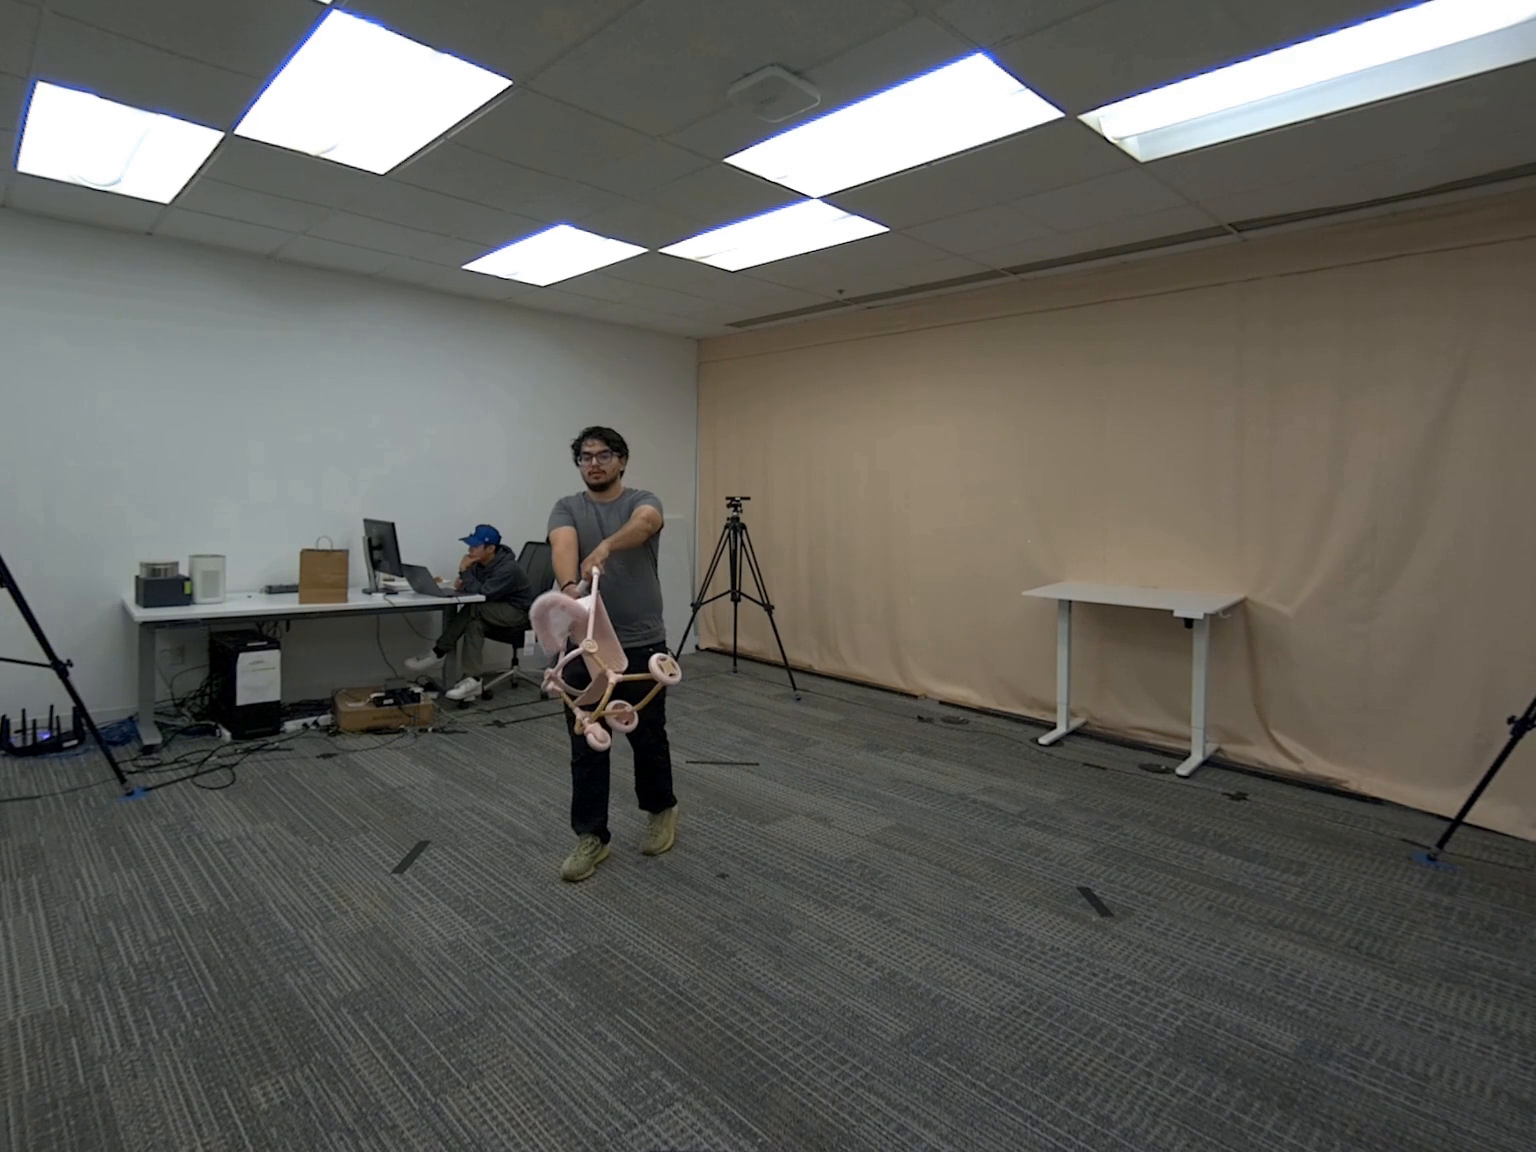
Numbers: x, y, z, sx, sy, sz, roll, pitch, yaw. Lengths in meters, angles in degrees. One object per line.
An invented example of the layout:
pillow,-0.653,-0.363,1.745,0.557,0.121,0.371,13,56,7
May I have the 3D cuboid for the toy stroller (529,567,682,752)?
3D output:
toy stroller,-0.530,0.247,2.464,0.335,0.545,0.281,-14,-28,-52
